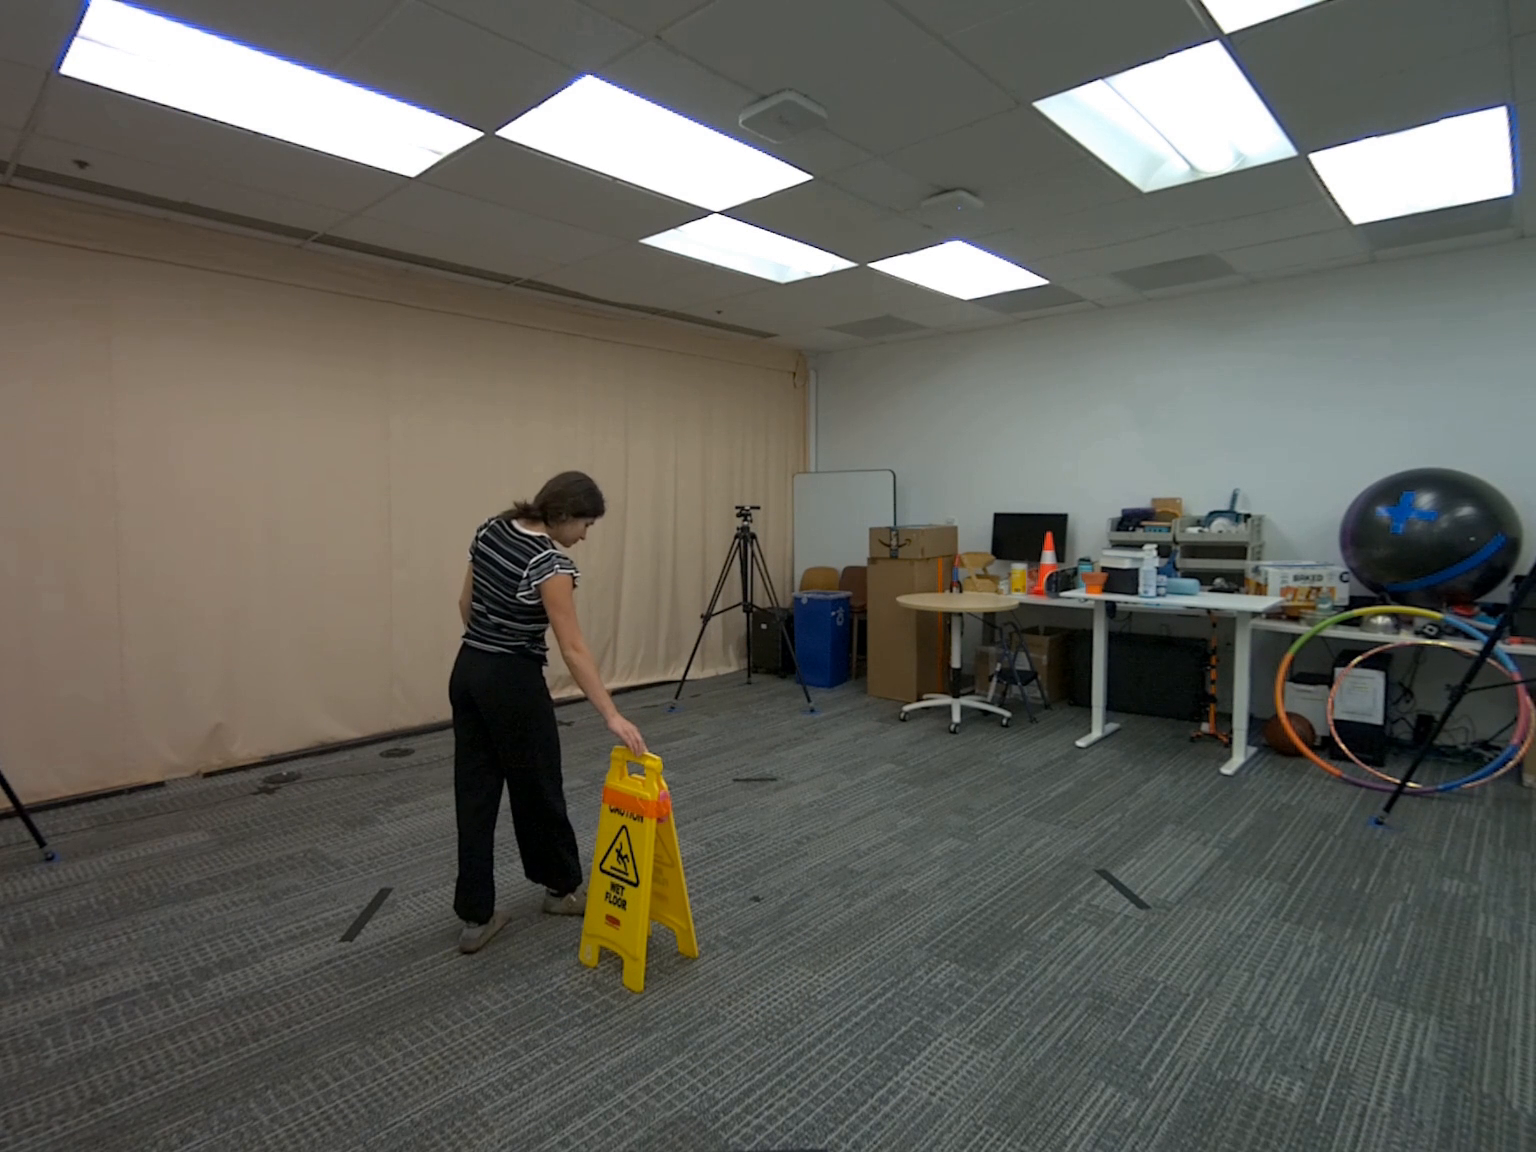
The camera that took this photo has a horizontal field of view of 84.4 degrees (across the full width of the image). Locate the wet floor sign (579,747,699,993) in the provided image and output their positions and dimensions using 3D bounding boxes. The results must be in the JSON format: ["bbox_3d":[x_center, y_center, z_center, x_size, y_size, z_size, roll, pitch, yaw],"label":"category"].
[{"bbox_3d":[-0.398,0.857,2.567,0.291,0.644,0.281,2,5,39],"label":"wet floor sign"}]
